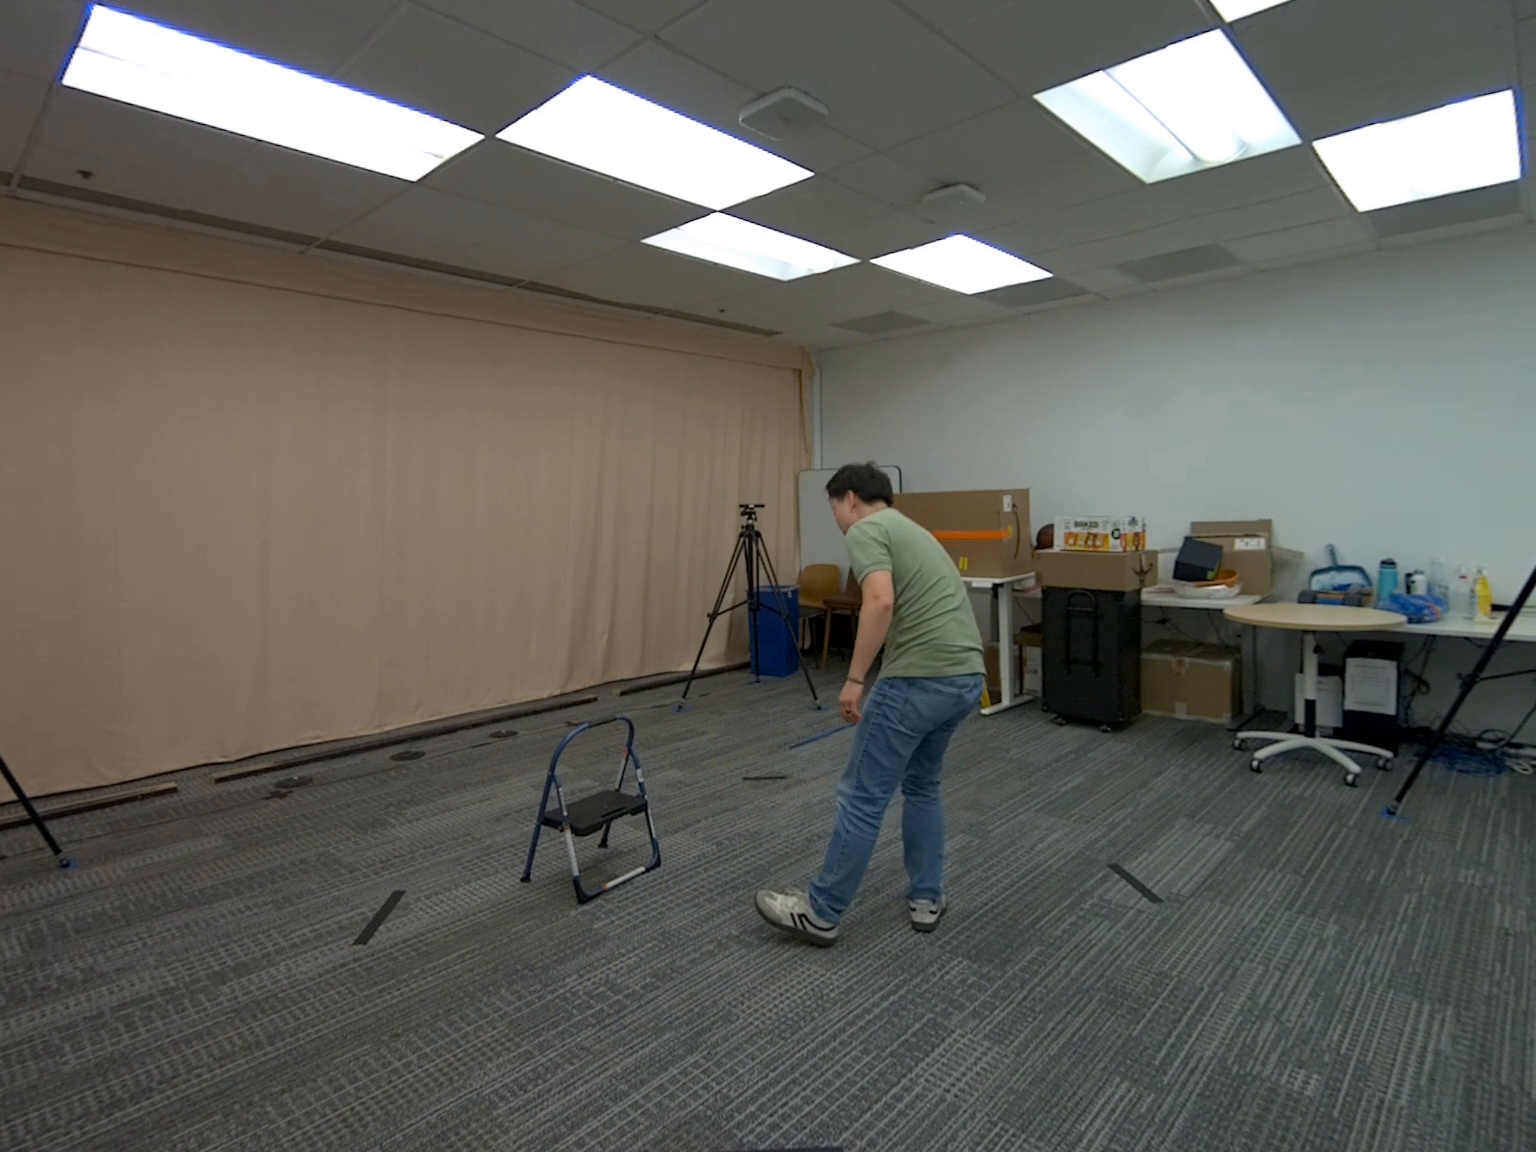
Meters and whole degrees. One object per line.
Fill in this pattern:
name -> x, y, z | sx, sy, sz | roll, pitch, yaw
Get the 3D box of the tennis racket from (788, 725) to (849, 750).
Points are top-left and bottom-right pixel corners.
tennis racket -> 0.283, 0.579, 3.127 | 0.437, 0.032, 0.209 | -21, -12, 13
